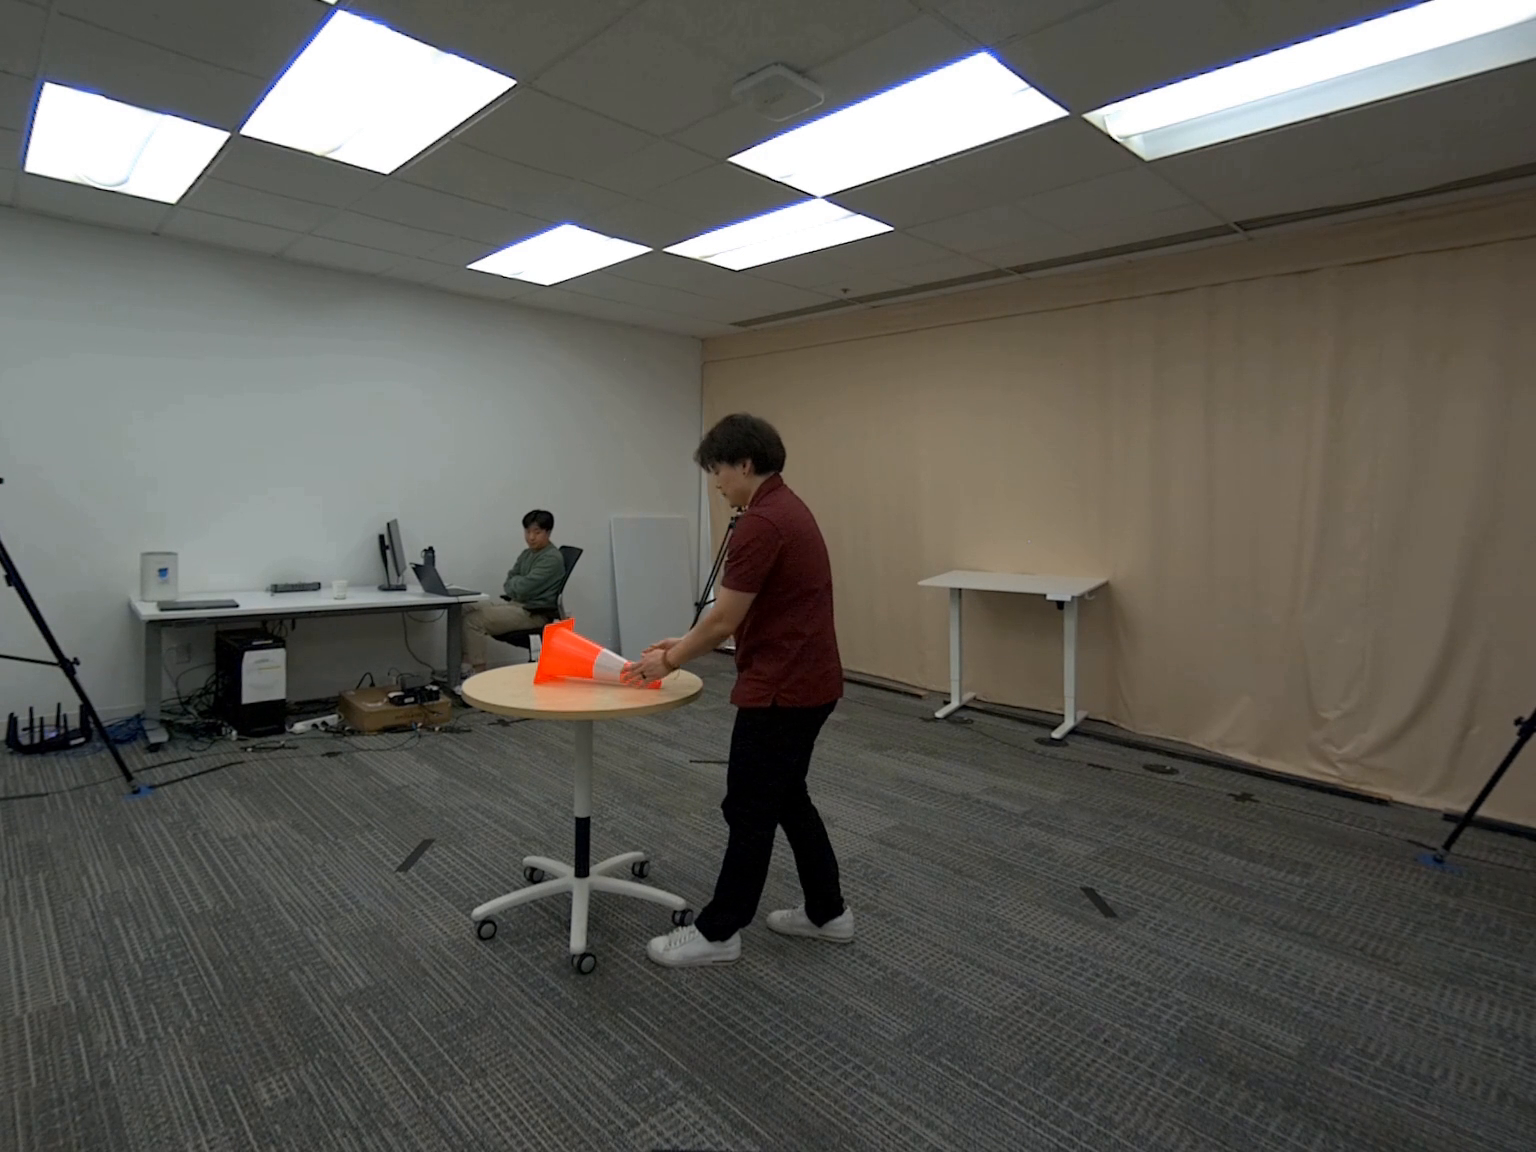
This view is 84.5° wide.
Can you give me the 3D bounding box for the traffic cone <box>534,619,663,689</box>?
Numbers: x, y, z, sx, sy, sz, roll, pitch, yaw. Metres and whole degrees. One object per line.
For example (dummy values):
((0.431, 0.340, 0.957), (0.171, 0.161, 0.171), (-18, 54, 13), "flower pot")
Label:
((-0.520, 0.290, 2.697), (0.388, 0.203, 0.203), (13, 16, 12), "traffic cone")
